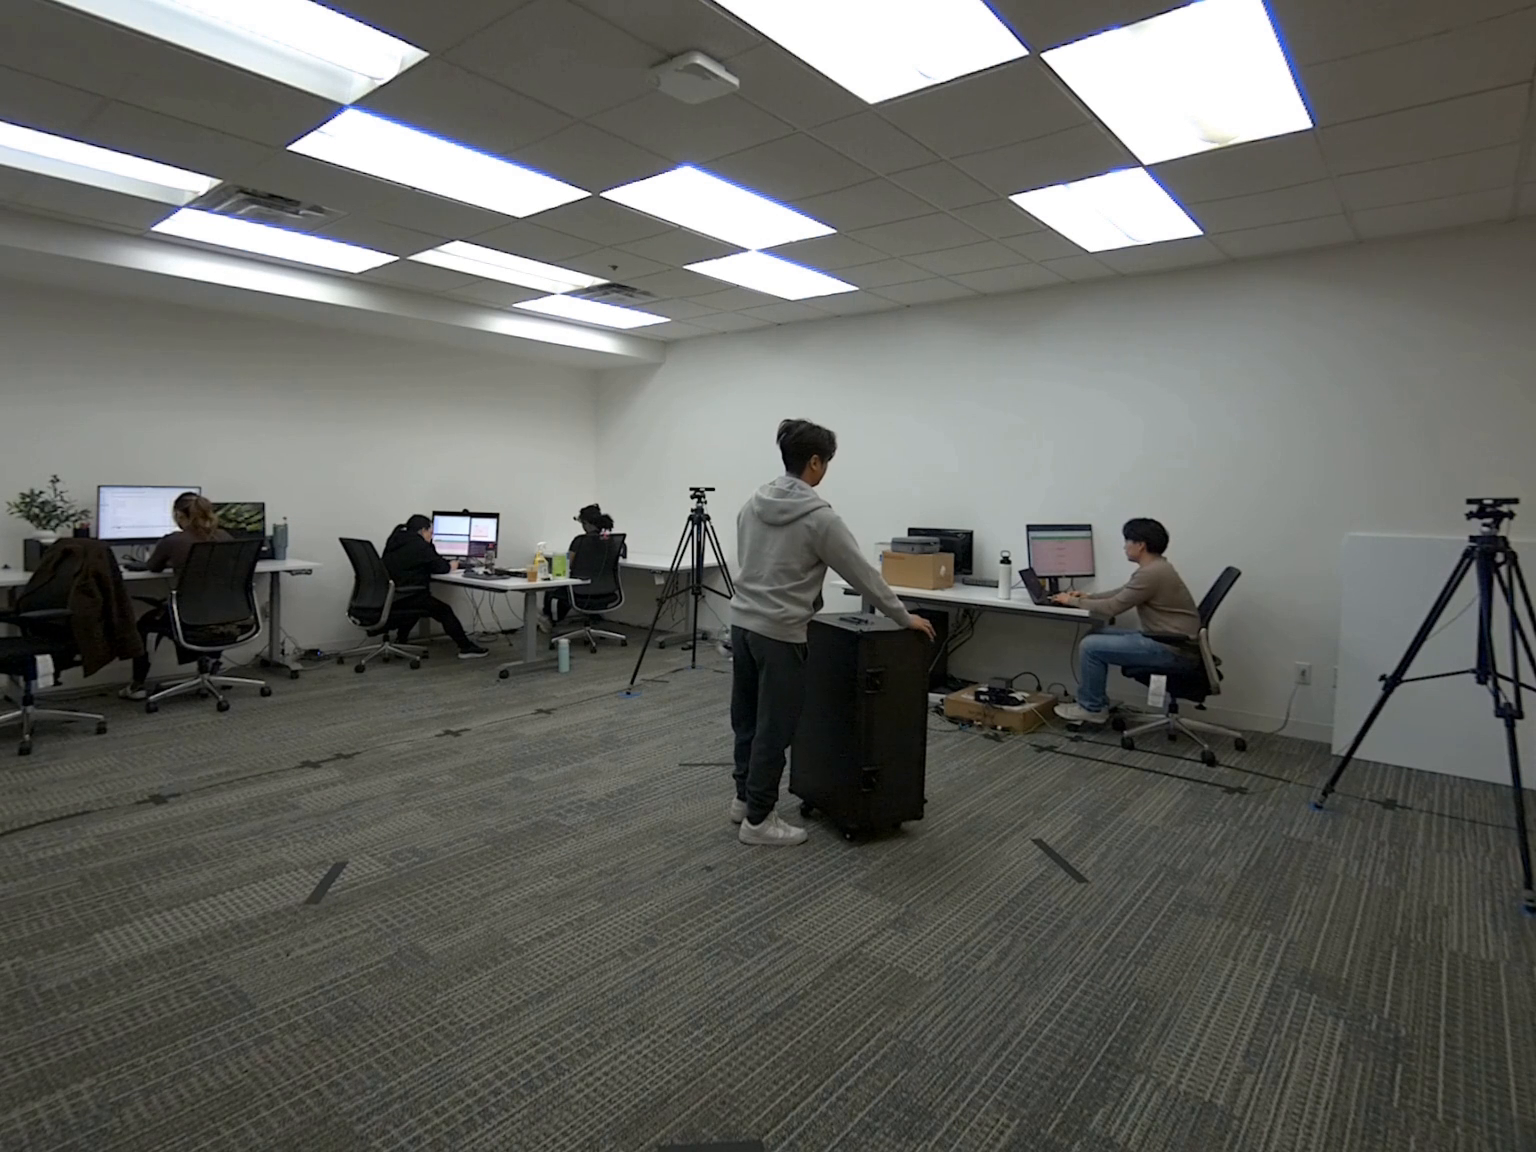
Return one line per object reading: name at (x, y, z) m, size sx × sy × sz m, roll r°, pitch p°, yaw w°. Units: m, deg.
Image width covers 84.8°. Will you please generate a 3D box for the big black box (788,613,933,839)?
big black box at (0.373, 0.609, 3.577) m, size 0.386 × 0.859 × 0.536 m, roll 0°, pitch 4°, yaw -28°
